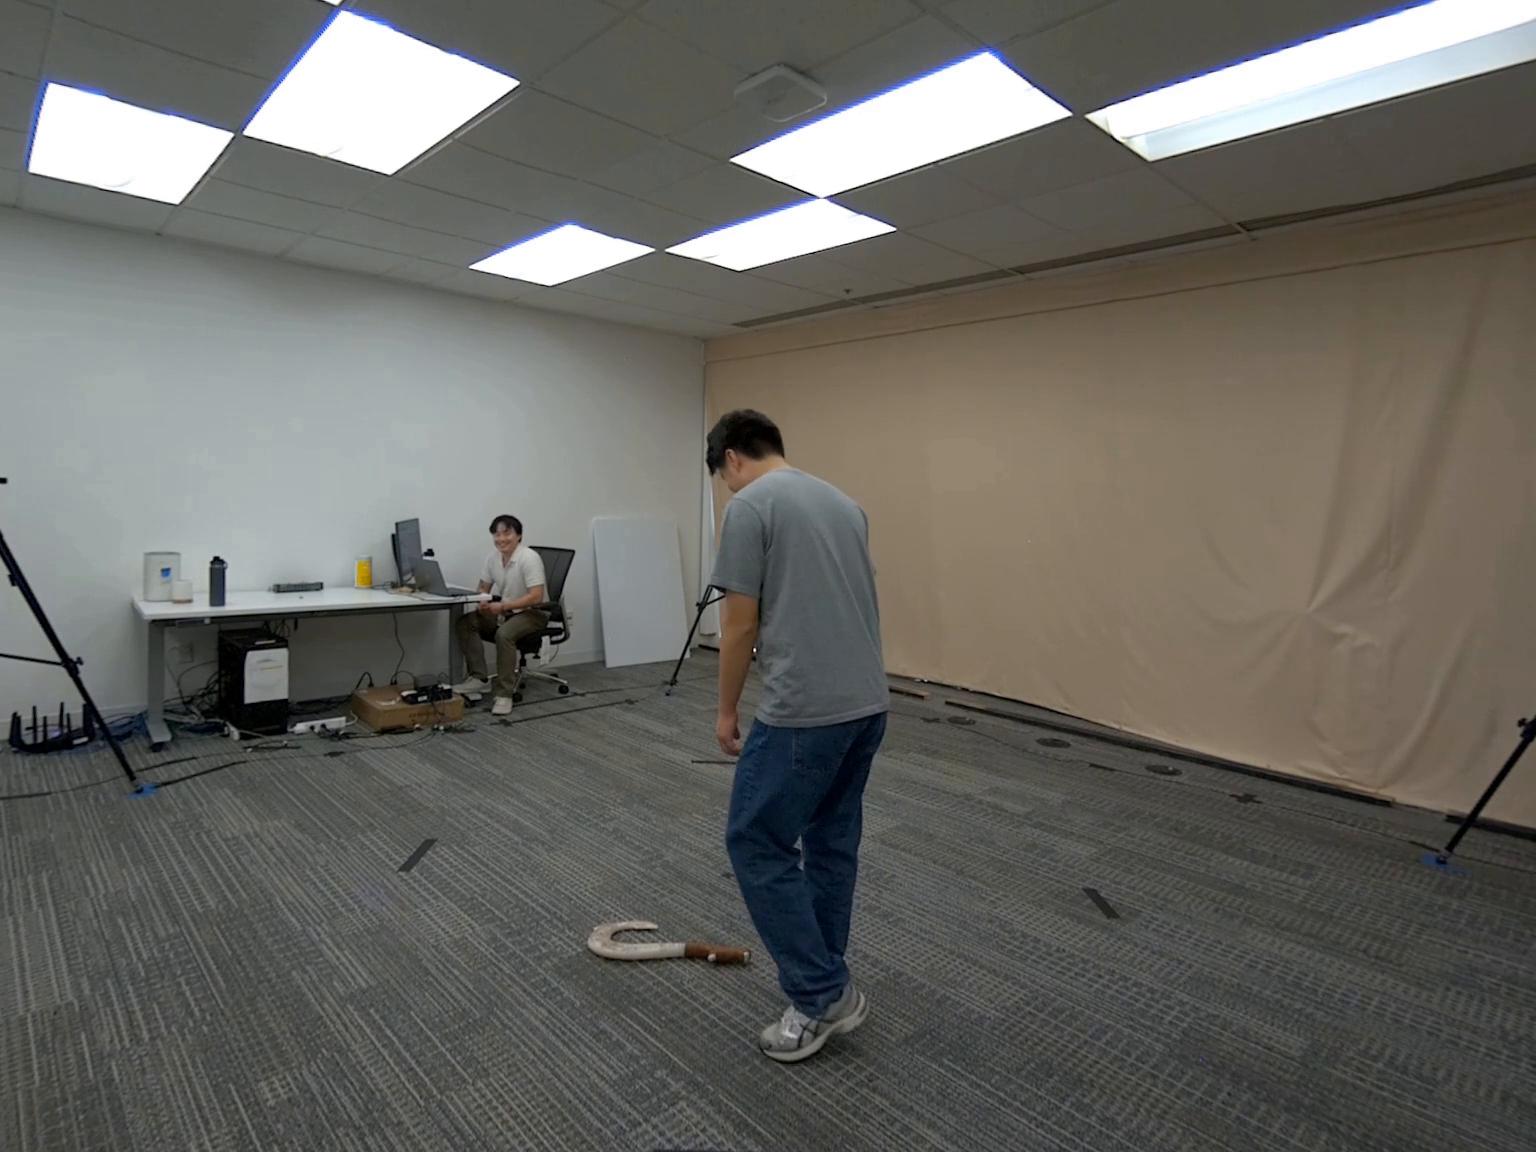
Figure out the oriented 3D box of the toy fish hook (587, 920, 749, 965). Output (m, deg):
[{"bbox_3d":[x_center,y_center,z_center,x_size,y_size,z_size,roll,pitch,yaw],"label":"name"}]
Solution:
[{"bbox_3d":[-0.306,1.126,2.591,0.509,0.048,0.224,2,6,6],"label":"toy fish hook"}]
